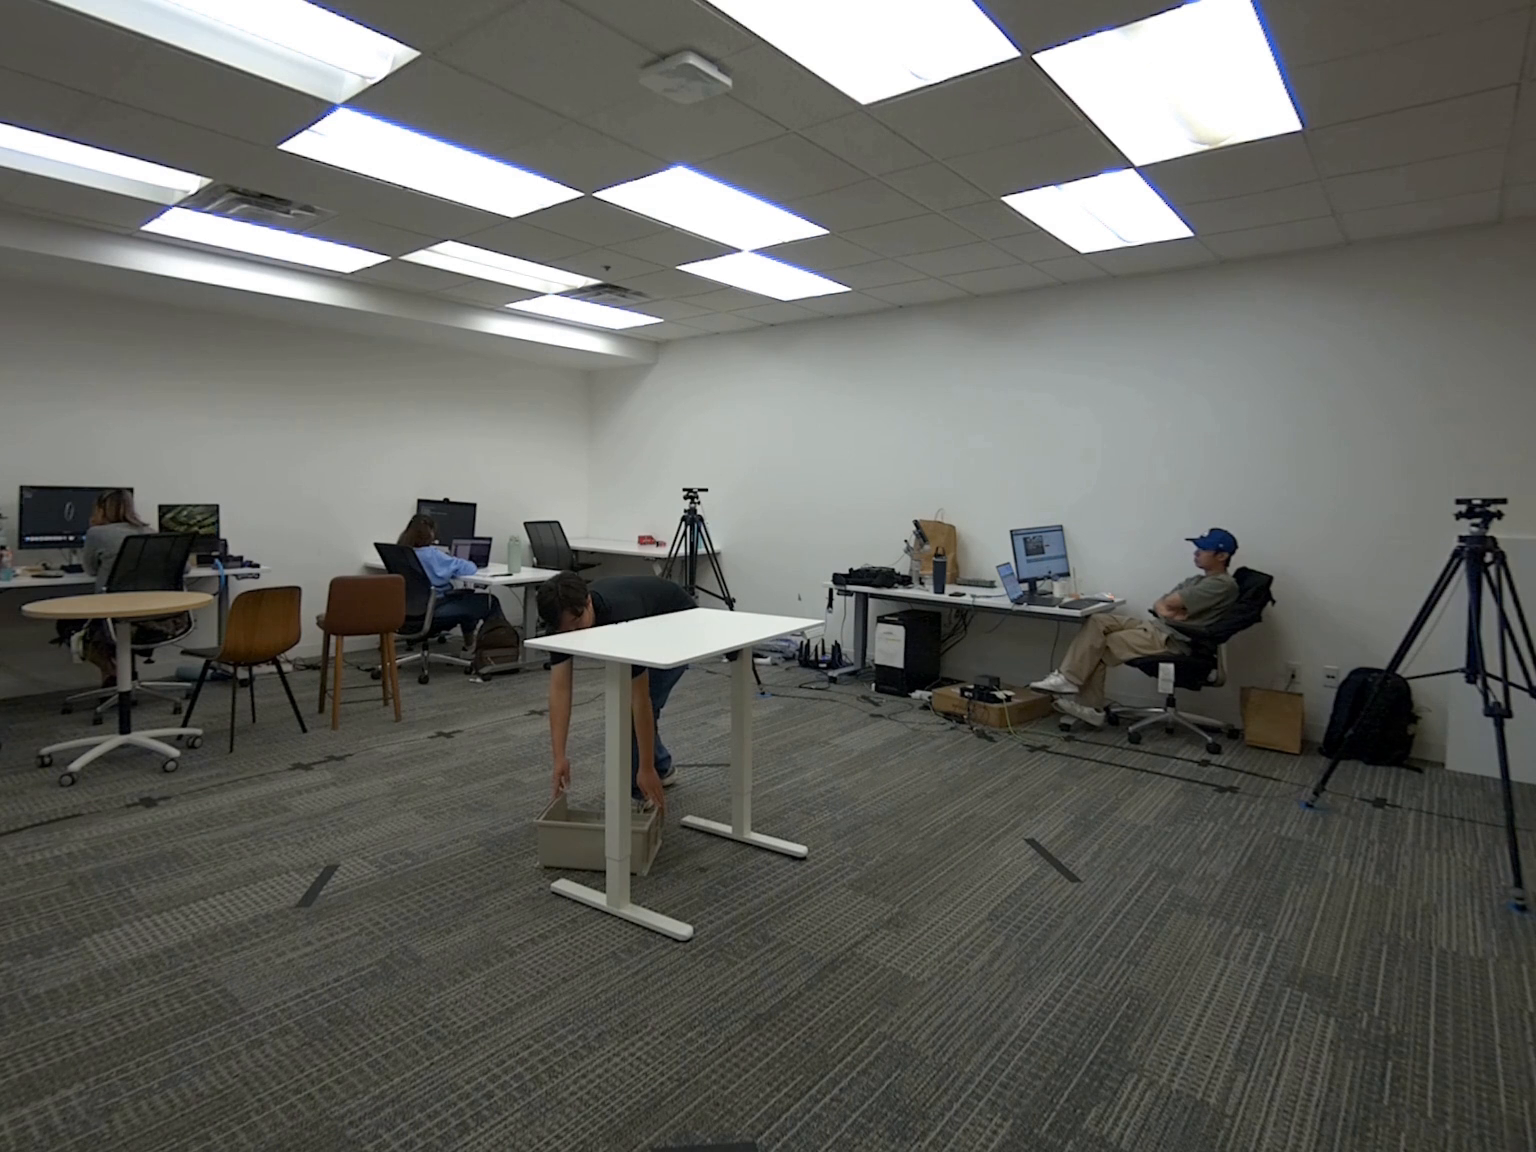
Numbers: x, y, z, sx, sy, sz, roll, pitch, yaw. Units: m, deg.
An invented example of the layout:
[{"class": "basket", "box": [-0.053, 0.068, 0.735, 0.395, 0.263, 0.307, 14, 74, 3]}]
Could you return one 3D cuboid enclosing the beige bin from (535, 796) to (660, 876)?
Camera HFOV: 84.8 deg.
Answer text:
[{"class": "beige bin", "box": [-0.642, 0.962, 3.238, 0.426, 0.188, 0.376, 1, 5, 6]}]
